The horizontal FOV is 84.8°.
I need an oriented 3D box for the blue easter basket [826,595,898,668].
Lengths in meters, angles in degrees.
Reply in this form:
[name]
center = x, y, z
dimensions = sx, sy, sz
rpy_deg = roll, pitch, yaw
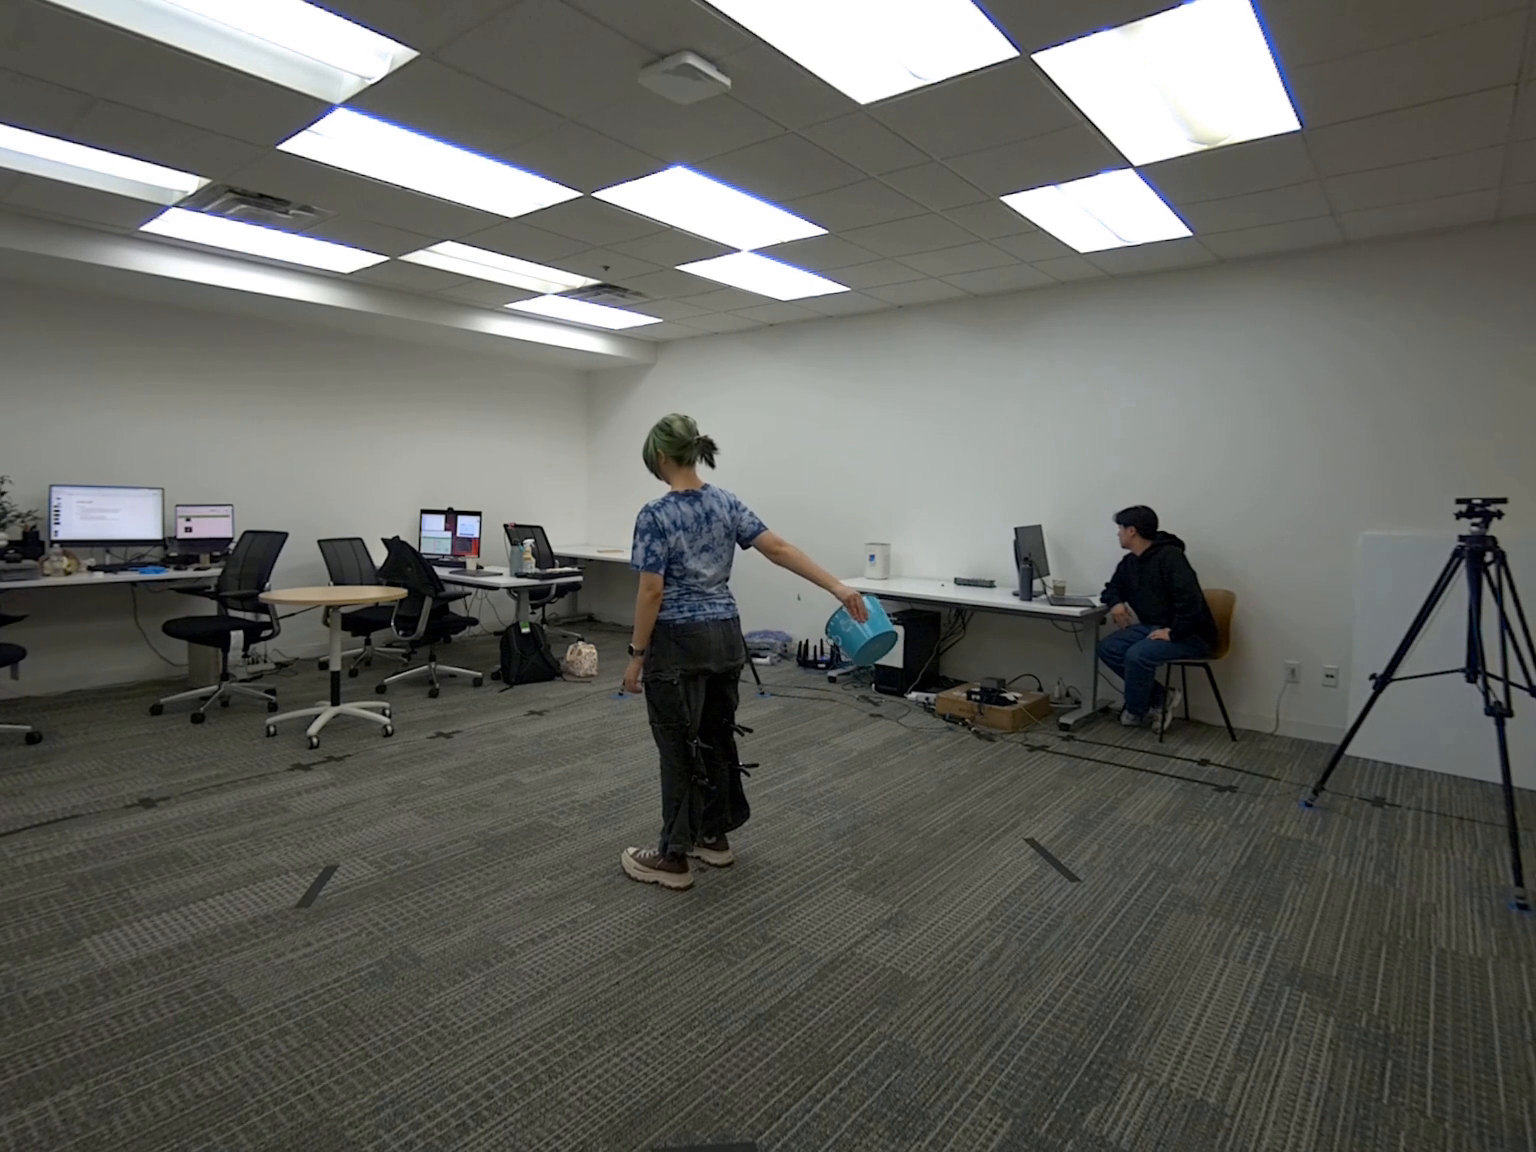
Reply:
[blue easter basket]
center = 0.324, 0.207, 2.993
dimensions = 0.236, 0.241, 0.162
rpy_deg = -2, 46, -37
